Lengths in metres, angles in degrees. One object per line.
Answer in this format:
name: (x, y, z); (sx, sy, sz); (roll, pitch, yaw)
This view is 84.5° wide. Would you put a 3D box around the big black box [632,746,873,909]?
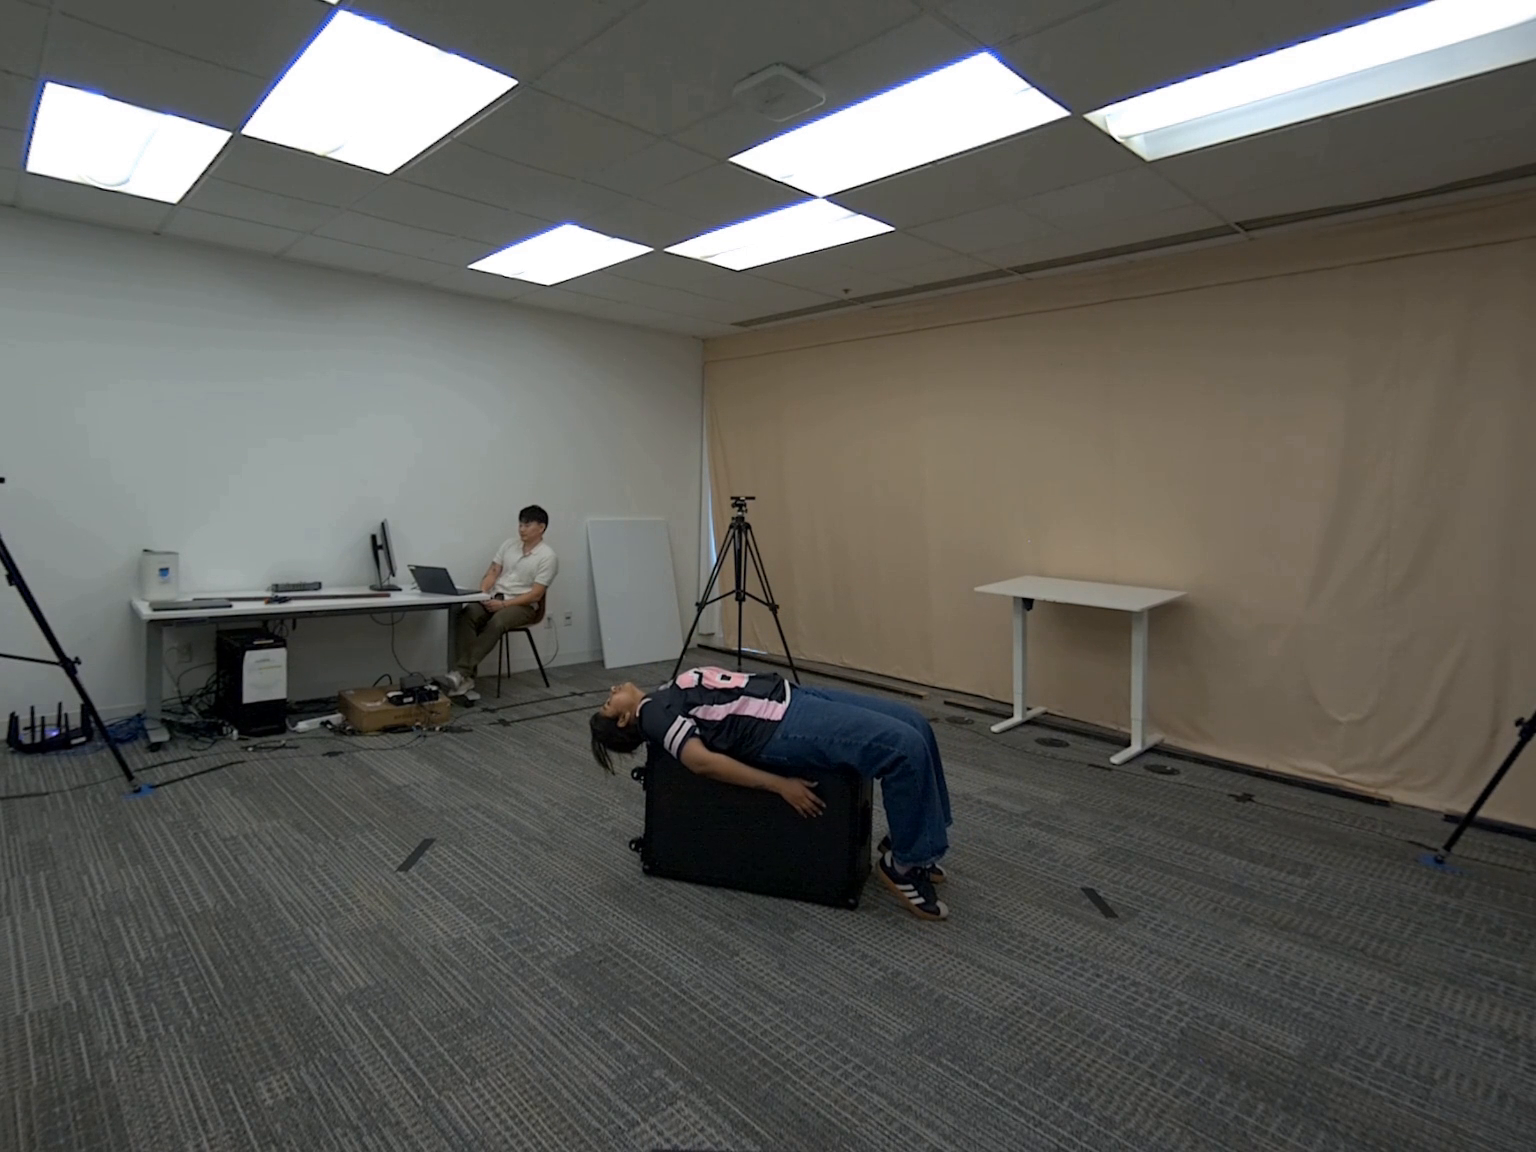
big black box: (-0.069, 0.845, 3.131); (0.881, 0.522, 0.381); (2, 5, 18)
